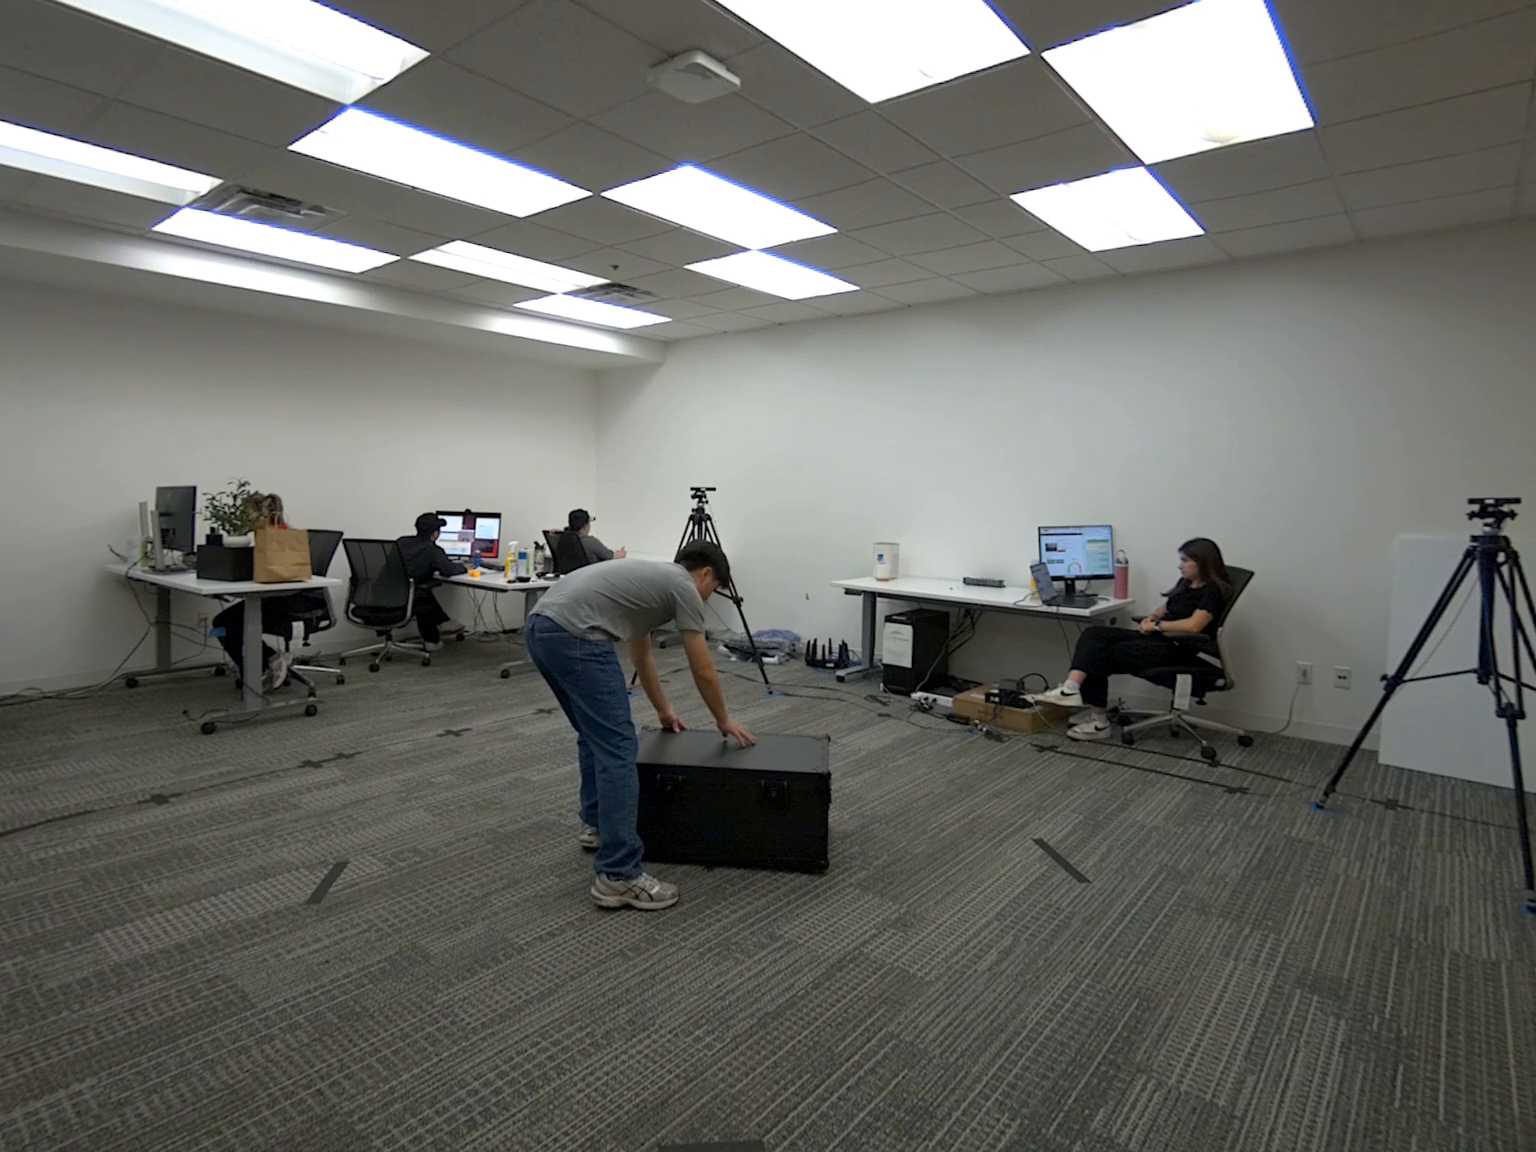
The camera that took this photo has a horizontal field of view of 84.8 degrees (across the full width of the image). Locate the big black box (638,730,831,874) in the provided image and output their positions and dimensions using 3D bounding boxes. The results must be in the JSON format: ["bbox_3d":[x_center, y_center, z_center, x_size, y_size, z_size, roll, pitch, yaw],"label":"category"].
[{"bbox_3d":[-0.192,0.853,3.337,0.868,0.395,0.519,1,5,6],"label":"big black box"}]
